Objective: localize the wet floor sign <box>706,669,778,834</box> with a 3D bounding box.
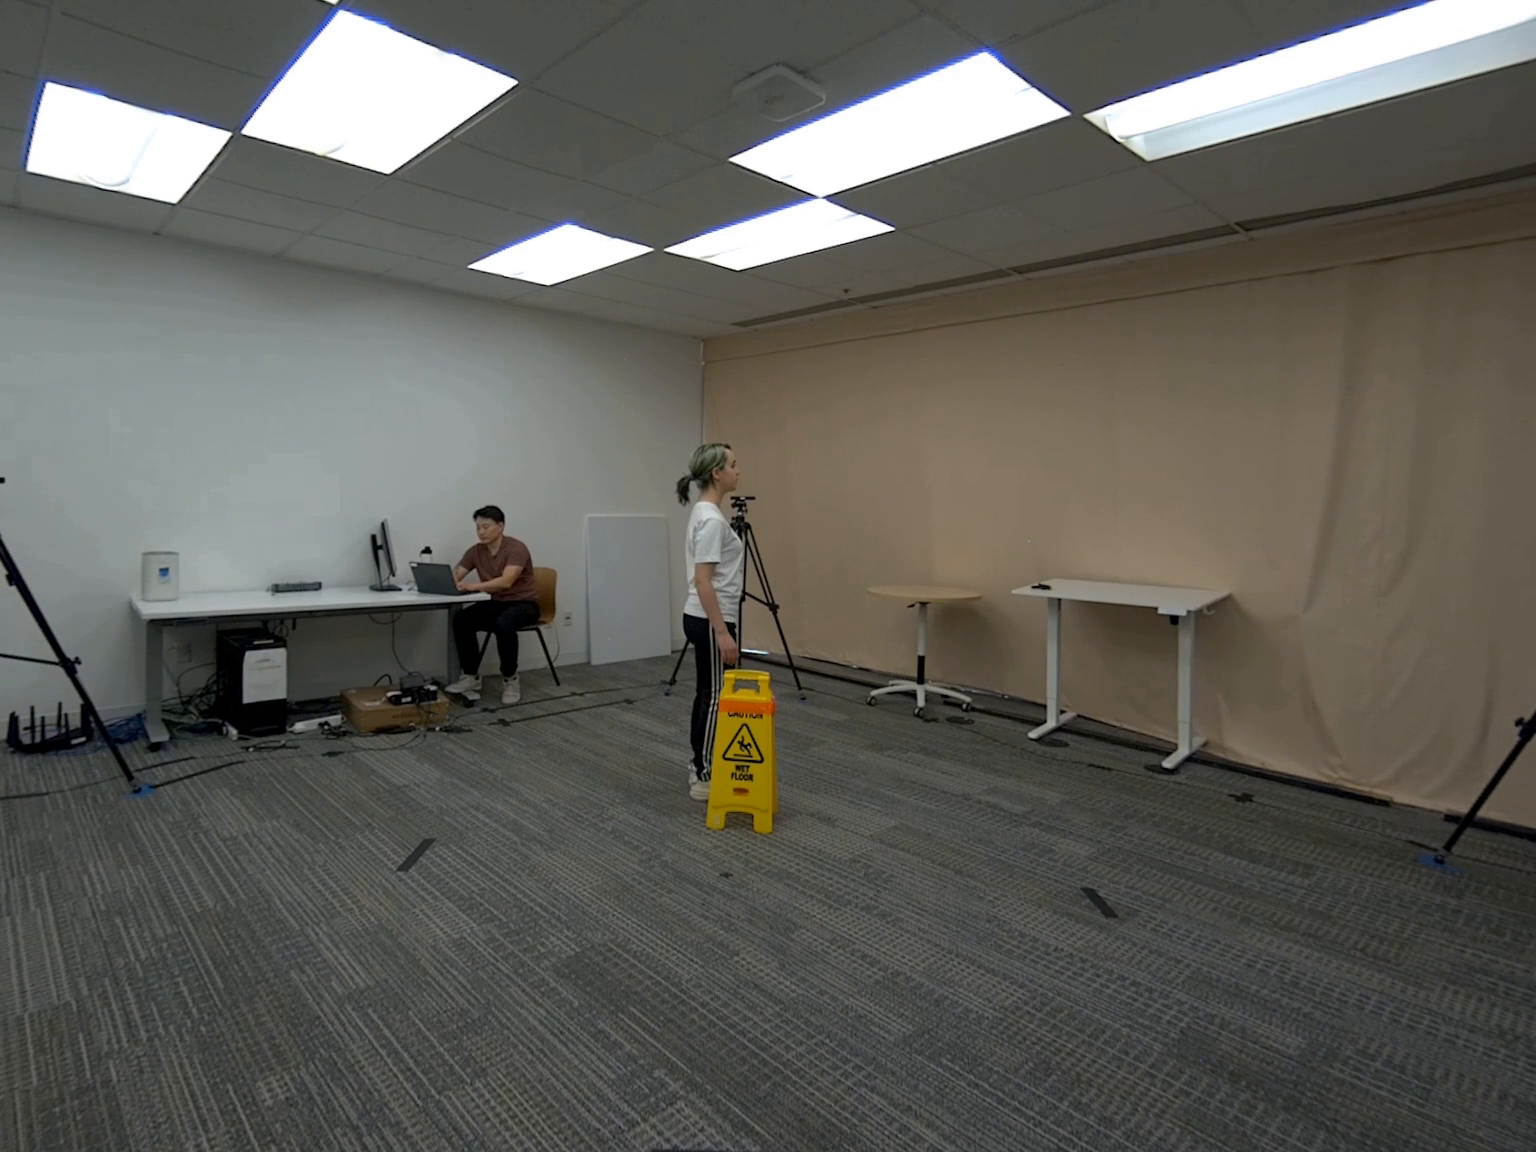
[{"bbox_3d":[-0.103,0.730,3.629,0.284,0.644,0.289,0,4,6],"label":"wet floor sign"}]
